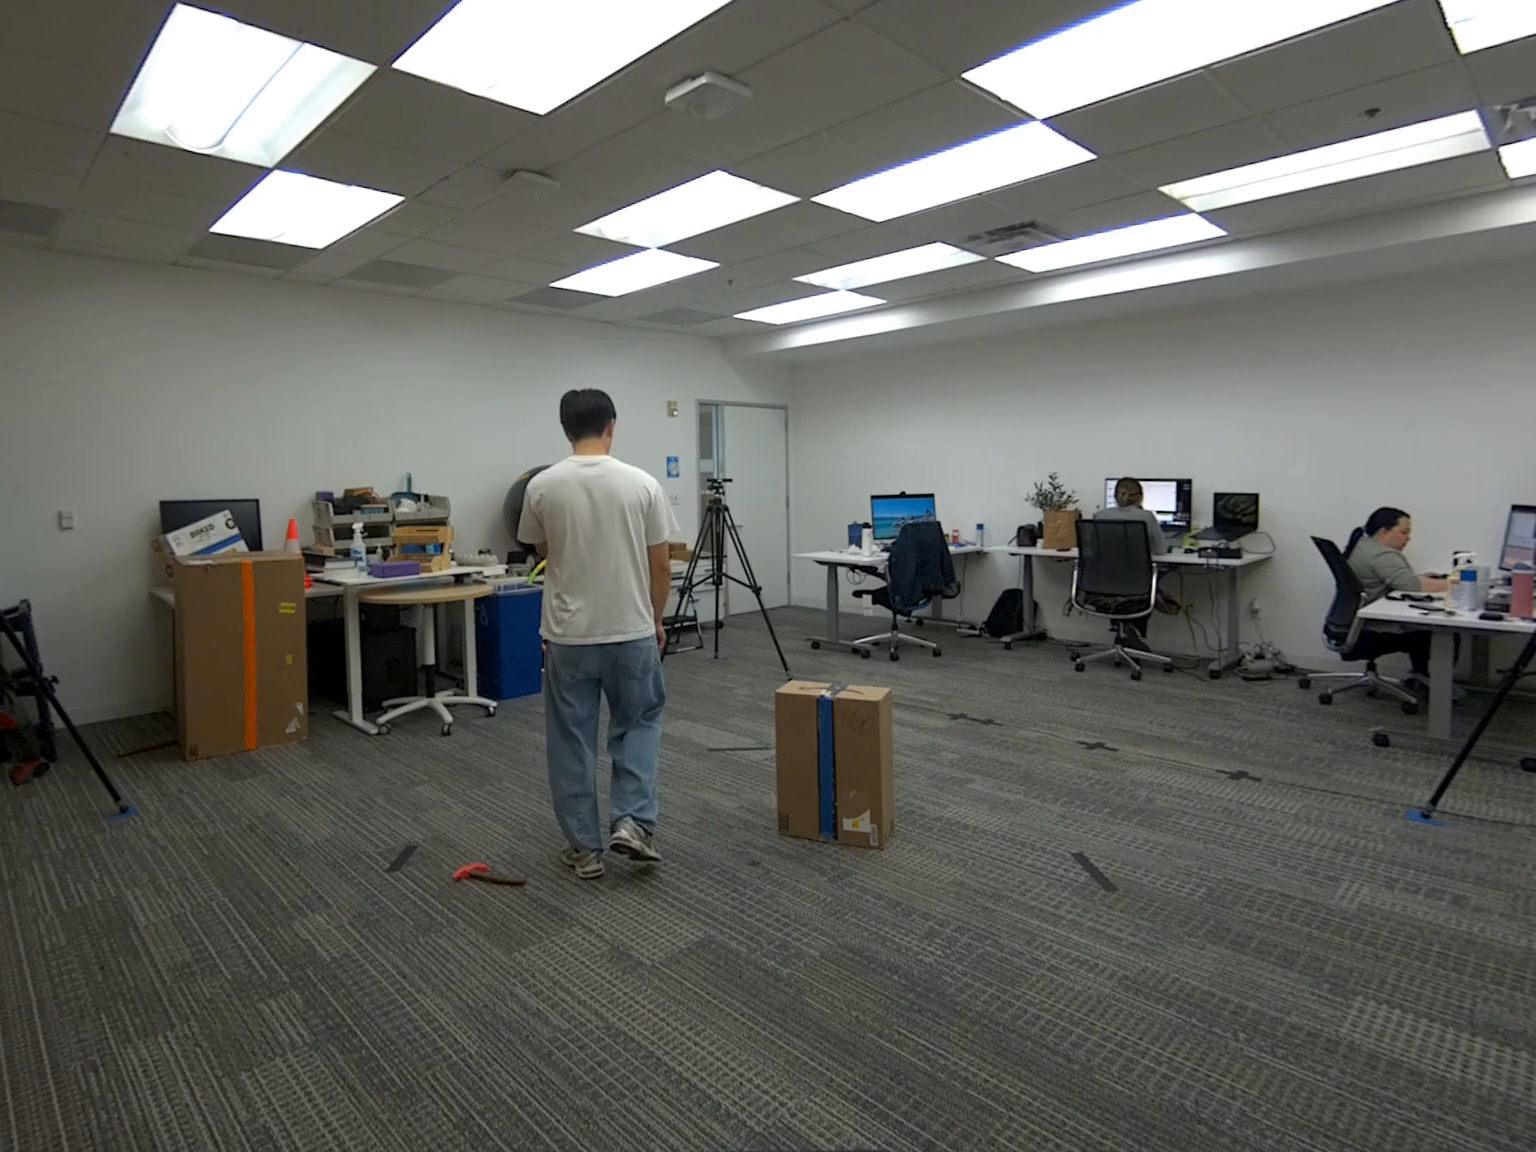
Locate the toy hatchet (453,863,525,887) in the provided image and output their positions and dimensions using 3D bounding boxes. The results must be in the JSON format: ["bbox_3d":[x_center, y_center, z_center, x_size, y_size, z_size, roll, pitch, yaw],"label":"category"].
[{"bbox_3d":[-0.970,1.057,3.045,0.272,0.029,0.130,2,2,8],"label":"toy hatchet"}]
